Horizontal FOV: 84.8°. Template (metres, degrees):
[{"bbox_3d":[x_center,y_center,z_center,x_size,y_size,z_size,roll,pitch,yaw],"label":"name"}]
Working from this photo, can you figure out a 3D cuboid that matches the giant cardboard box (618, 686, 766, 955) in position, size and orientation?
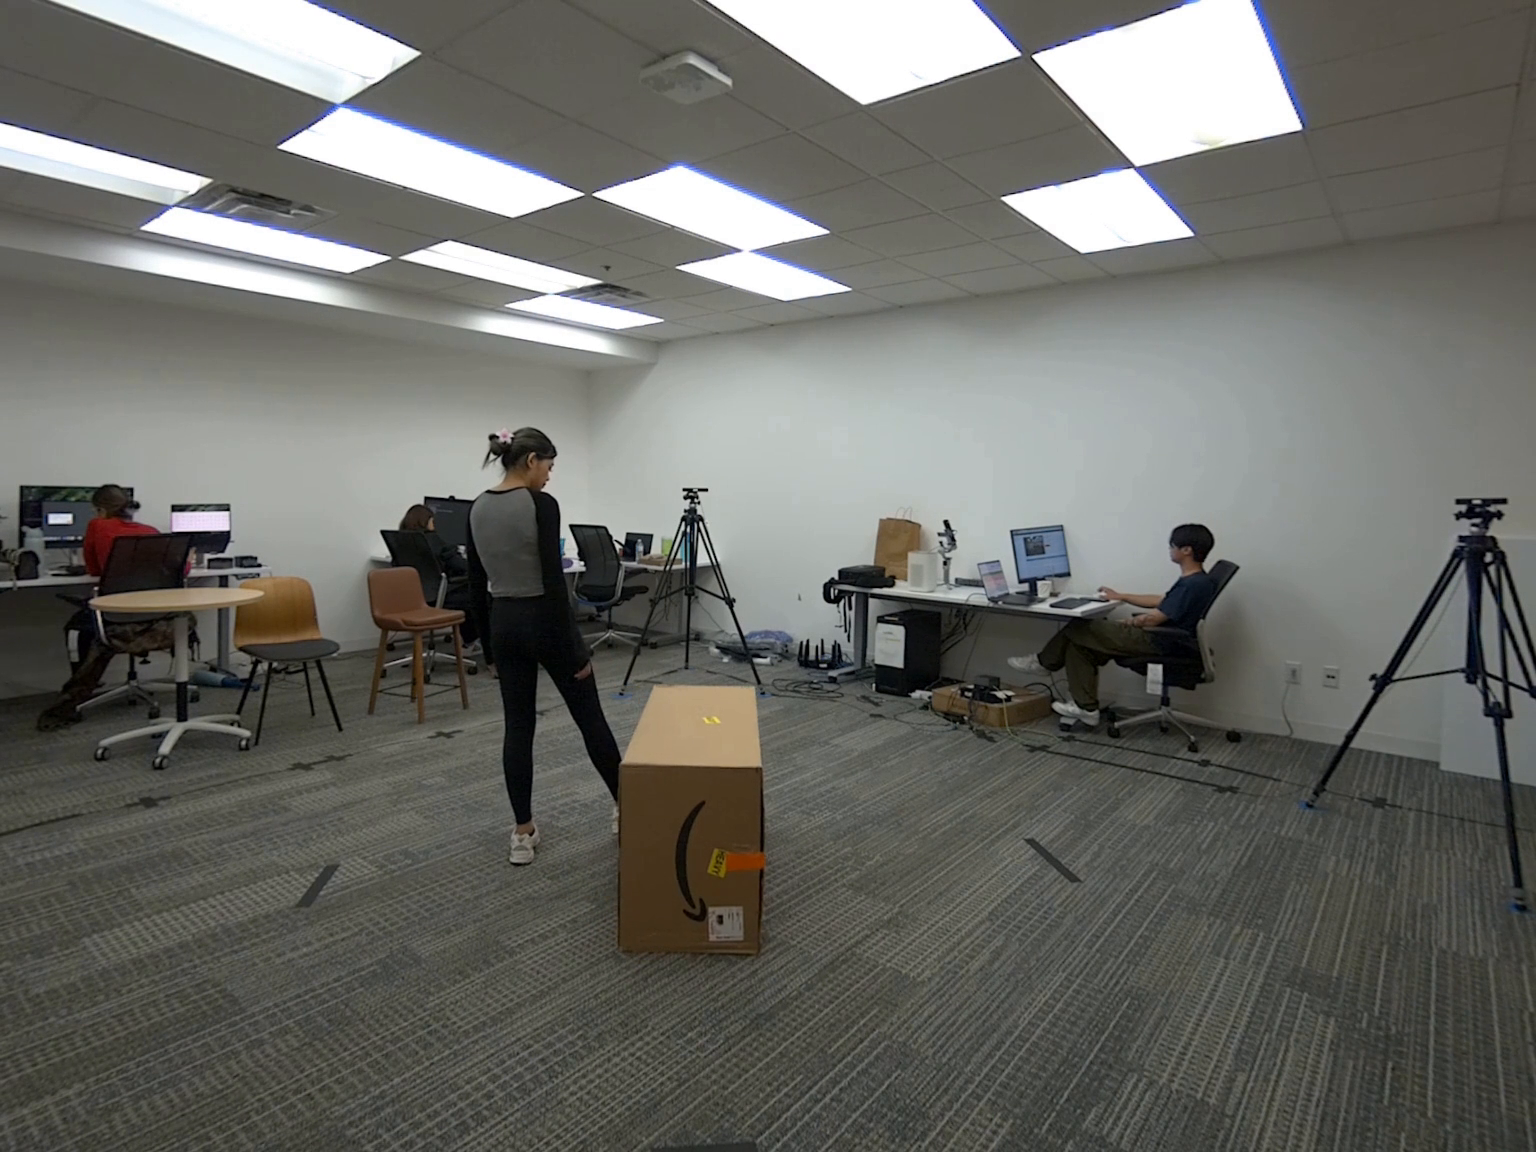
[{"bbox_3d":[-0.256,0.788,3.027,0.426,0.575,1.030,0,5,-2],"label":"giant cardboard box"}]
